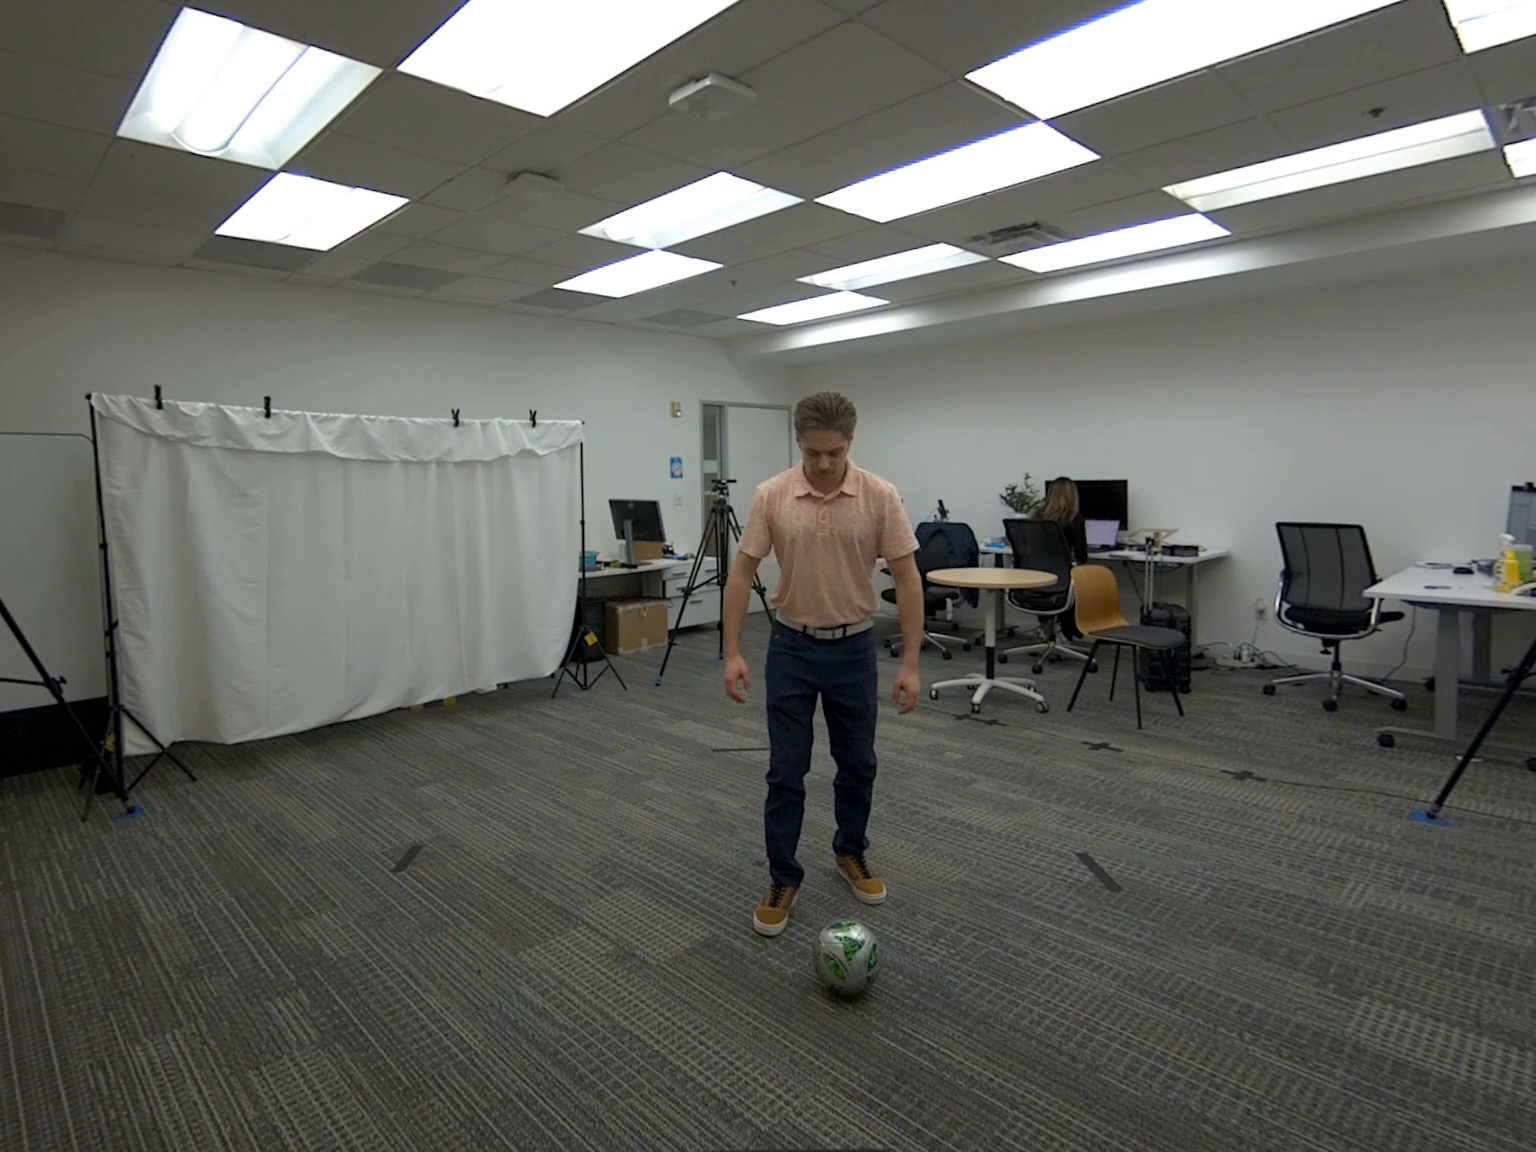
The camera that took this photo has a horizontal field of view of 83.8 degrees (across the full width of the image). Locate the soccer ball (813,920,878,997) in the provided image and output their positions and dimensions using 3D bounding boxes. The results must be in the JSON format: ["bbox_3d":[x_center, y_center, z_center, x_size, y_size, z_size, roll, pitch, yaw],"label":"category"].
[{"bbox_3d":[0.223,1.045,2.324,0.187,0.187,0.188,-1,5,-2],"label":"soccer ball"}]
